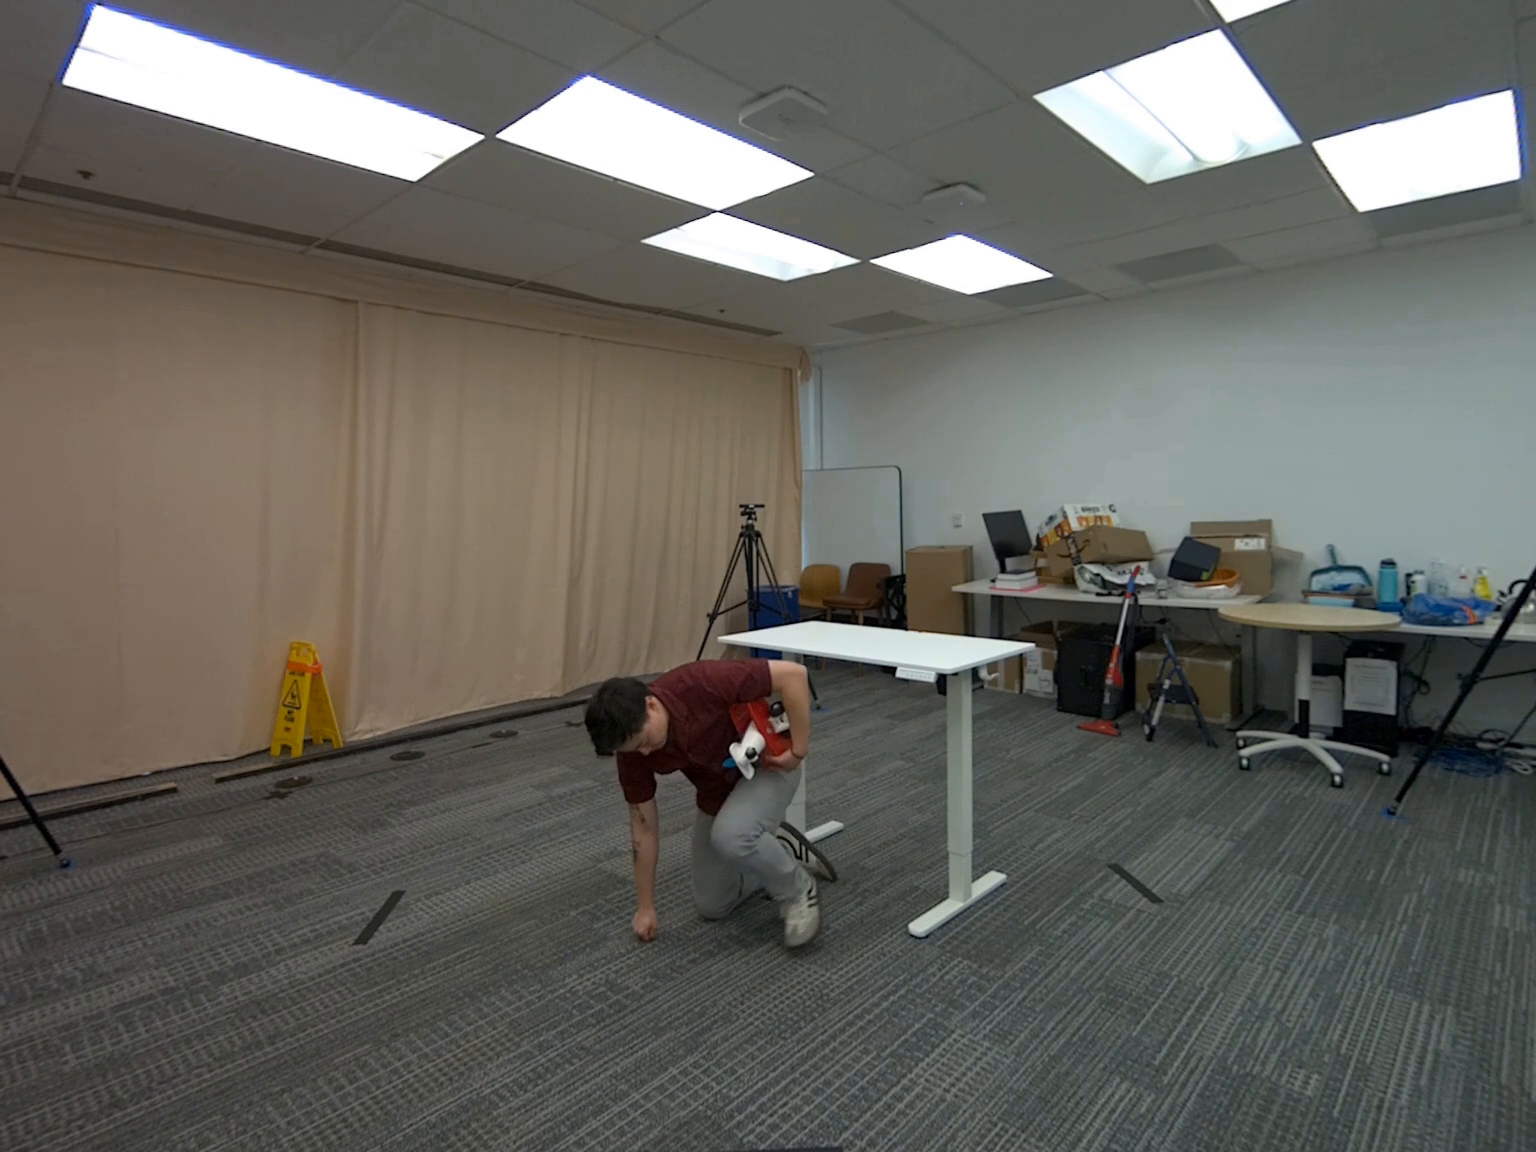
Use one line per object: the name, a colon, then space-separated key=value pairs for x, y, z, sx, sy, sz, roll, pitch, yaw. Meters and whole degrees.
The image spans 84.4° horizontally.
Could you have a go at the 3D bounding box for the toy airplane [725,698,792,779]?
toy airplane: x=-0.036 y=0.493 z=2.581 sx=0.251 sy=0.253 sz=0.160 roll=2 pitch=-12 yaw=-41
